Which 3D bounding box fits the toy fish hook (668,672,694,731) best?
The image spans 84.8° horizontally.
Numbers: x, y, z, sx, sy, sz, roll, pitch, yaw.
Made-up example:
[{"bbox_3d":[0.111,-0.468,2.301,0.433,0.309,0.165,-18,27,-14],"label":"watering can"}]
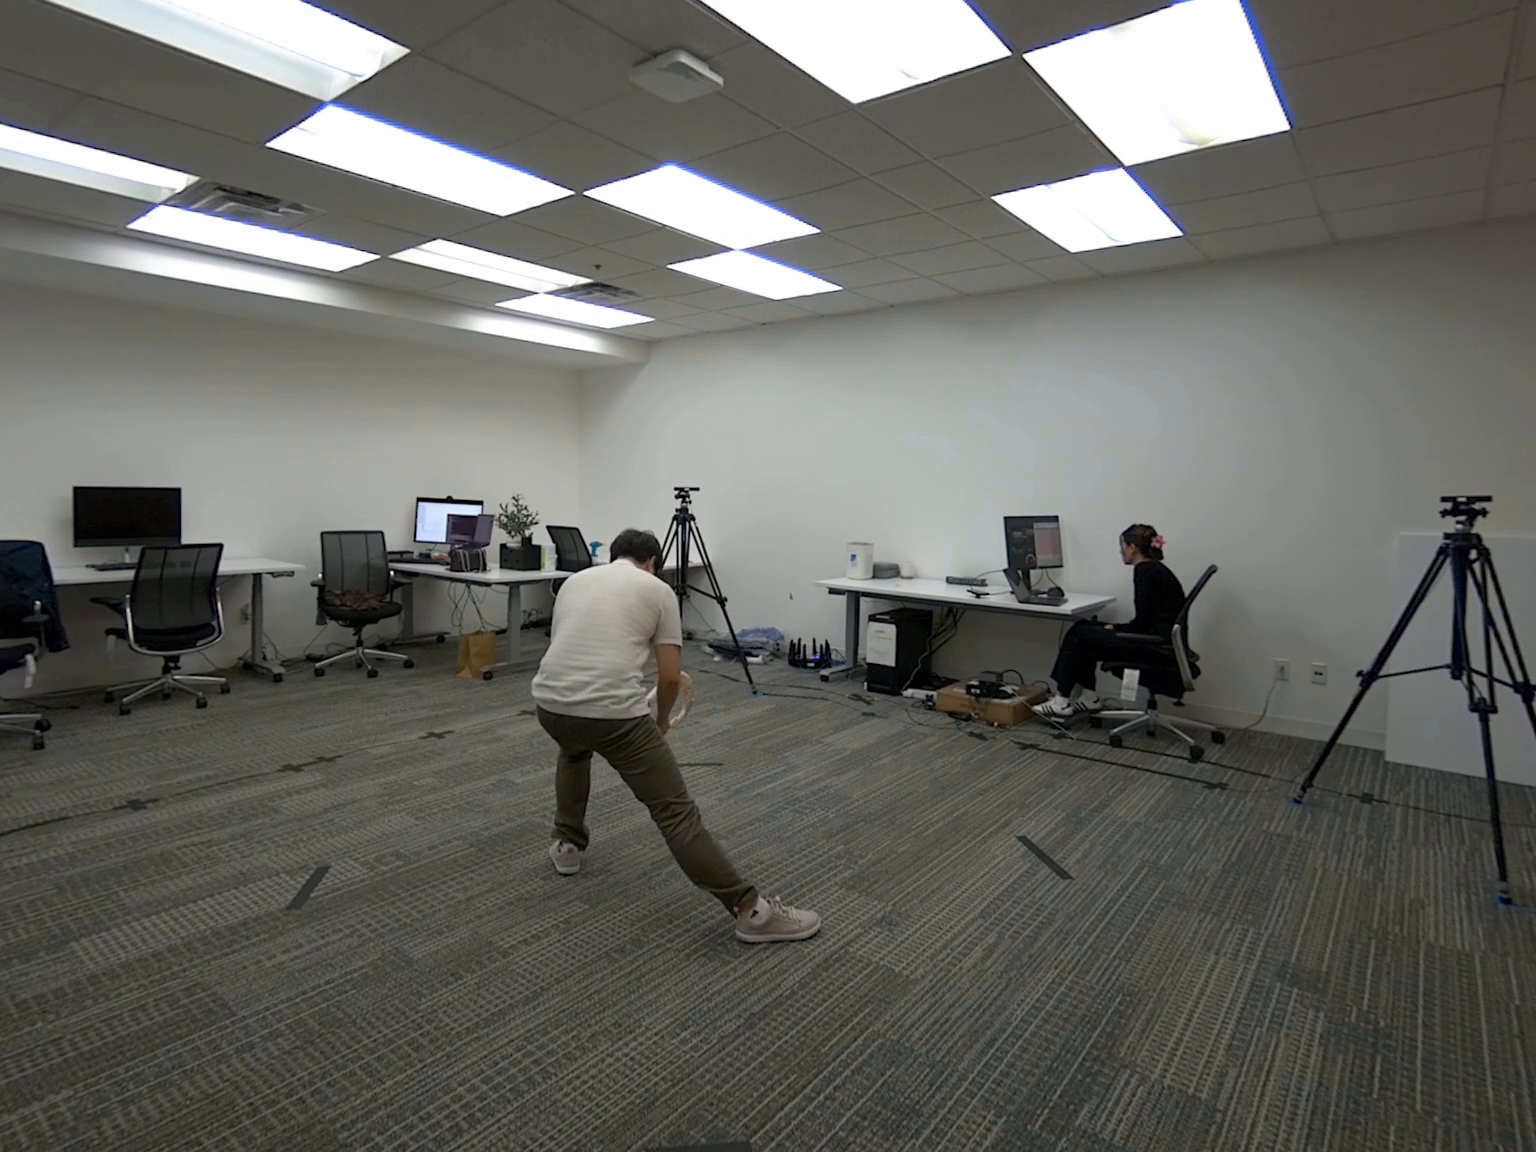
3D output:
[{"bbox_3d":[-0.462,0.542,3.455,0.049,0.223,0.496,-8,7,35],"label":"toy fish hook"}]
